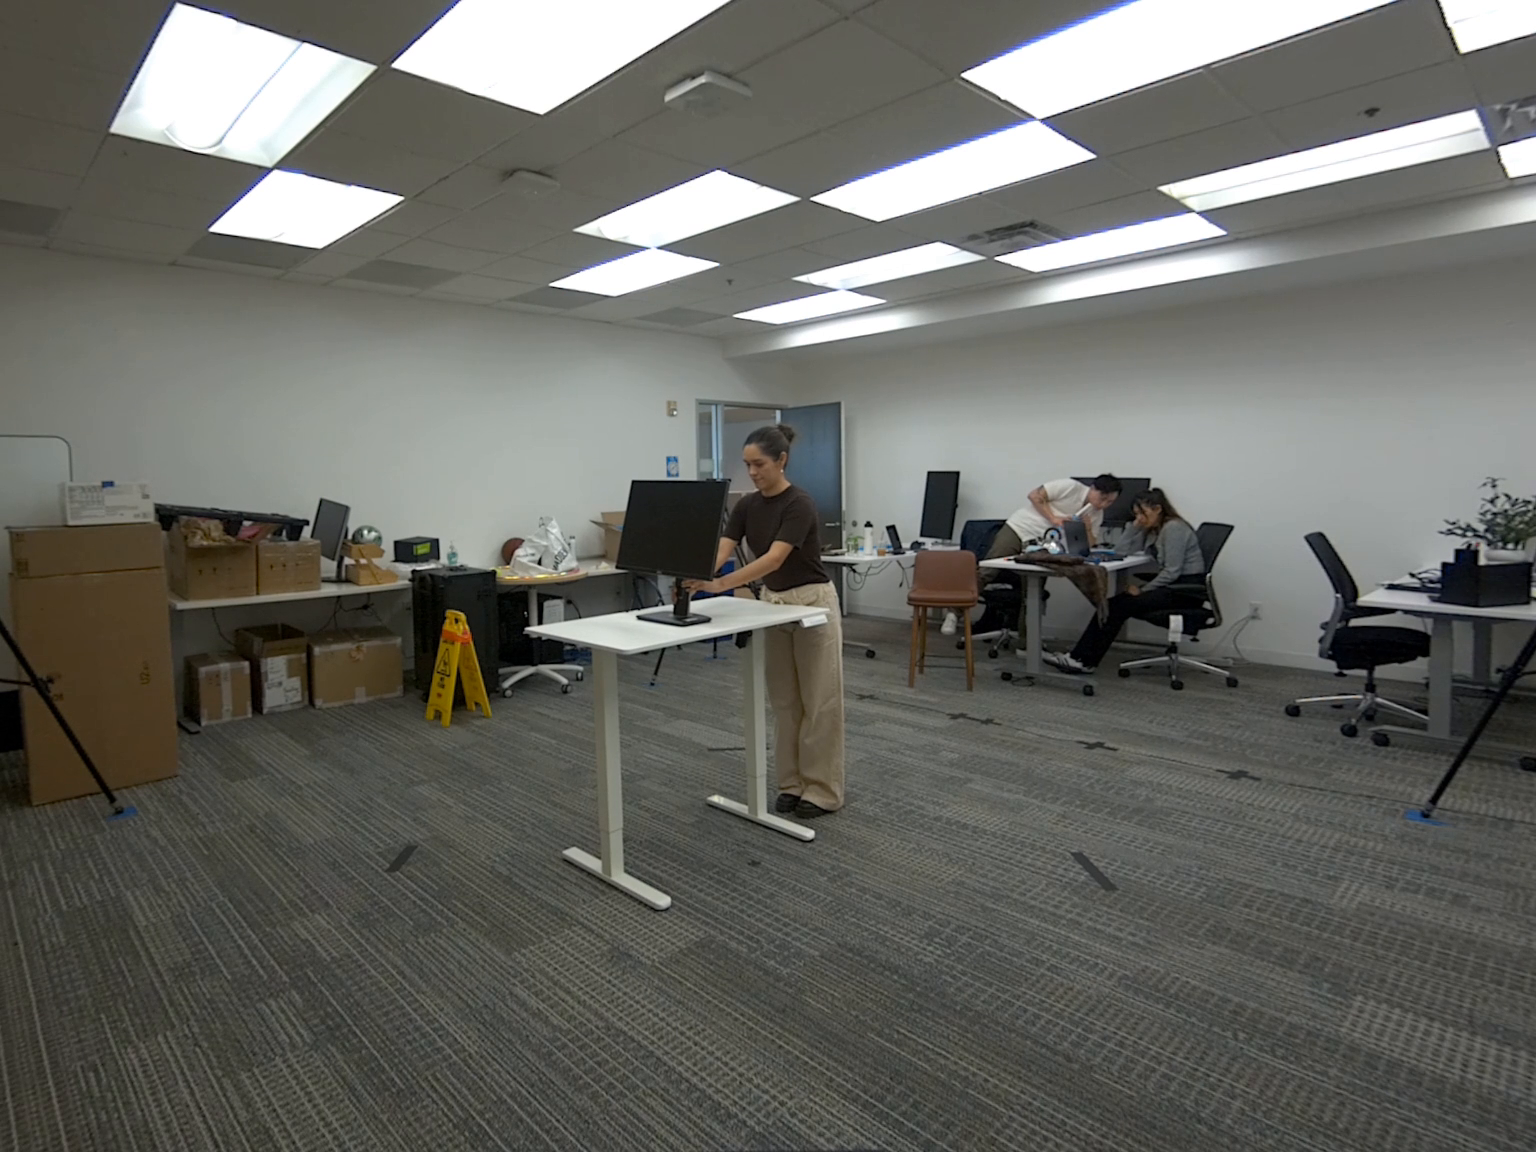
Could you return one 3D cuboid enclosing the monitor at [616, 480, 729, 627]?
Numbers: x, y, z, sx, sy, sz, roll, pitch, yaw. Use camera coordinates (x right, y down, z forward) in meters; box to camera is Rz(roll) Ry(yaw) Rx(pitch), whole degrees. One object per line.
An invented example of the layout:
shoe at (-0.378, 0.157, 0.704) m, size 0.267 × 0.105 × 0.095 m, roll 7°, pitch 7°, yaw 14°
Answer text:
monitor at (-0.342, -0.093, 3.138) m, size 0.547 × 0.513 × 0.170 m, roll 6°, pitch 10°, yaw 43°
